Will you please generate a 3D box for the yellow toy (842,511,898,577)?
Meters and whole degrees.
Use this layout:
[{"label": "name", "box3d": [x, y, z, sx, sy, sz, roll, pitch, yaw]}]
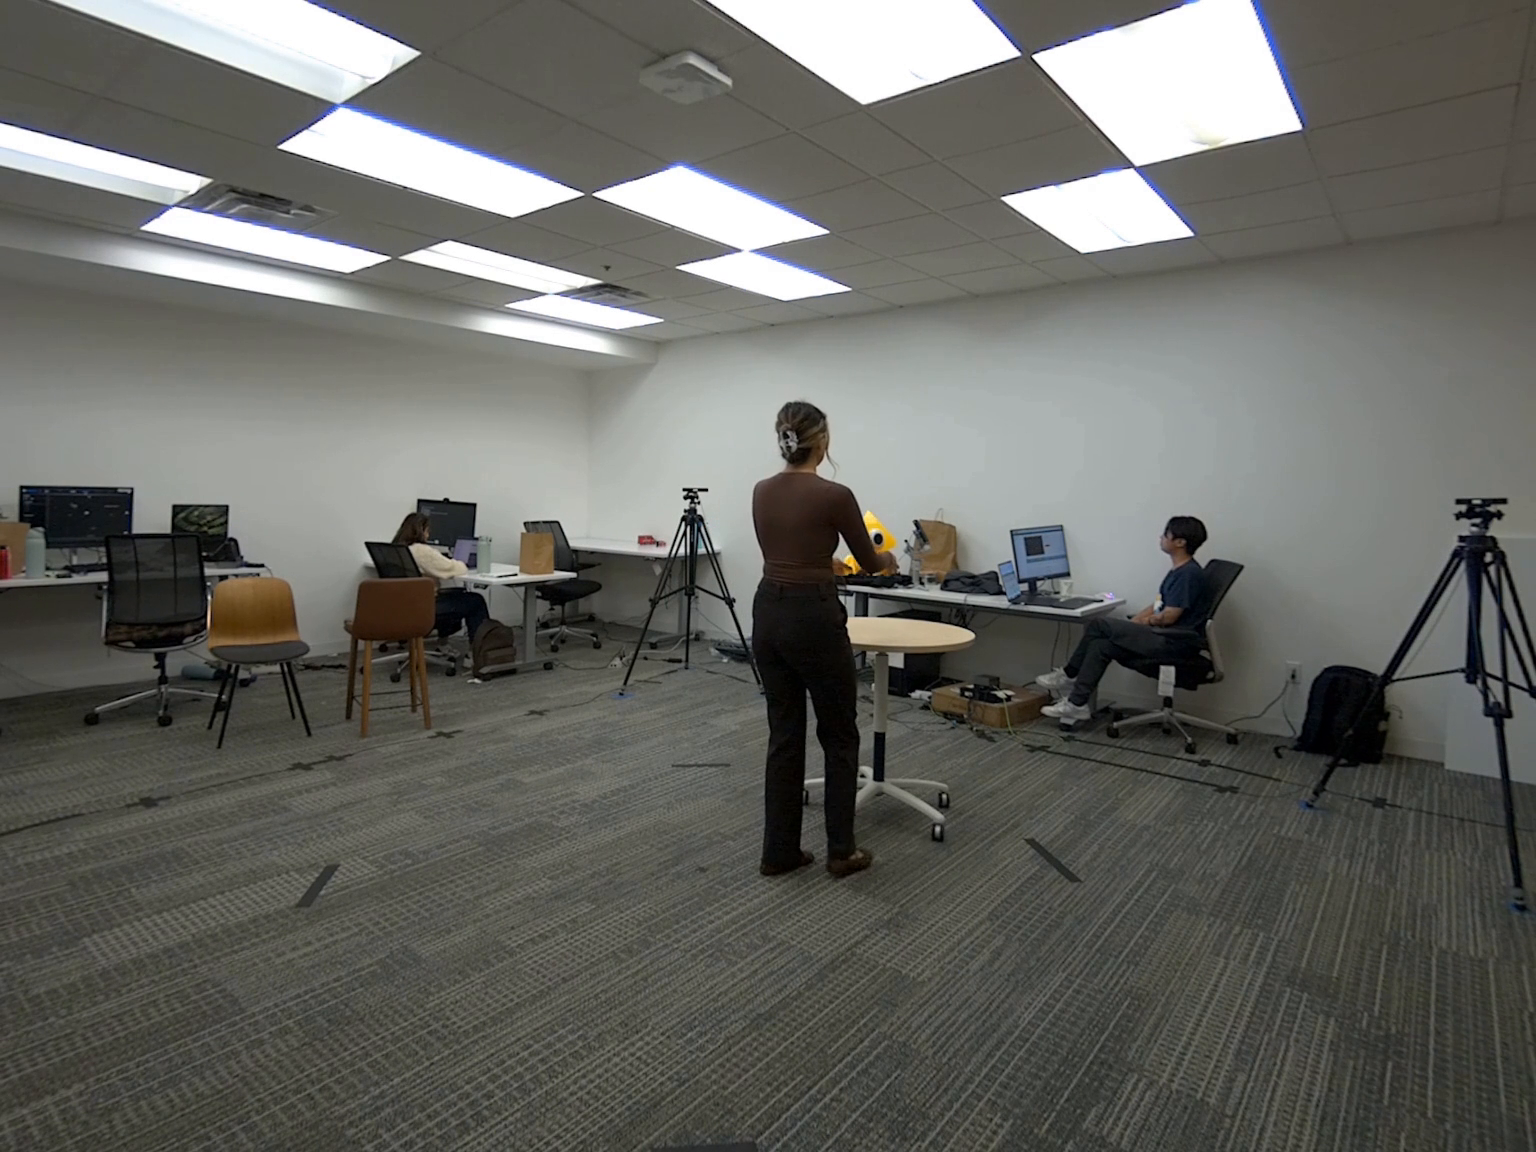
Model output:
[{"label": "yellow toy", "box3d": [0.392, -0.143, 3.479, 0.211, 0.227, 0.190, 0, 17, 33]}]
